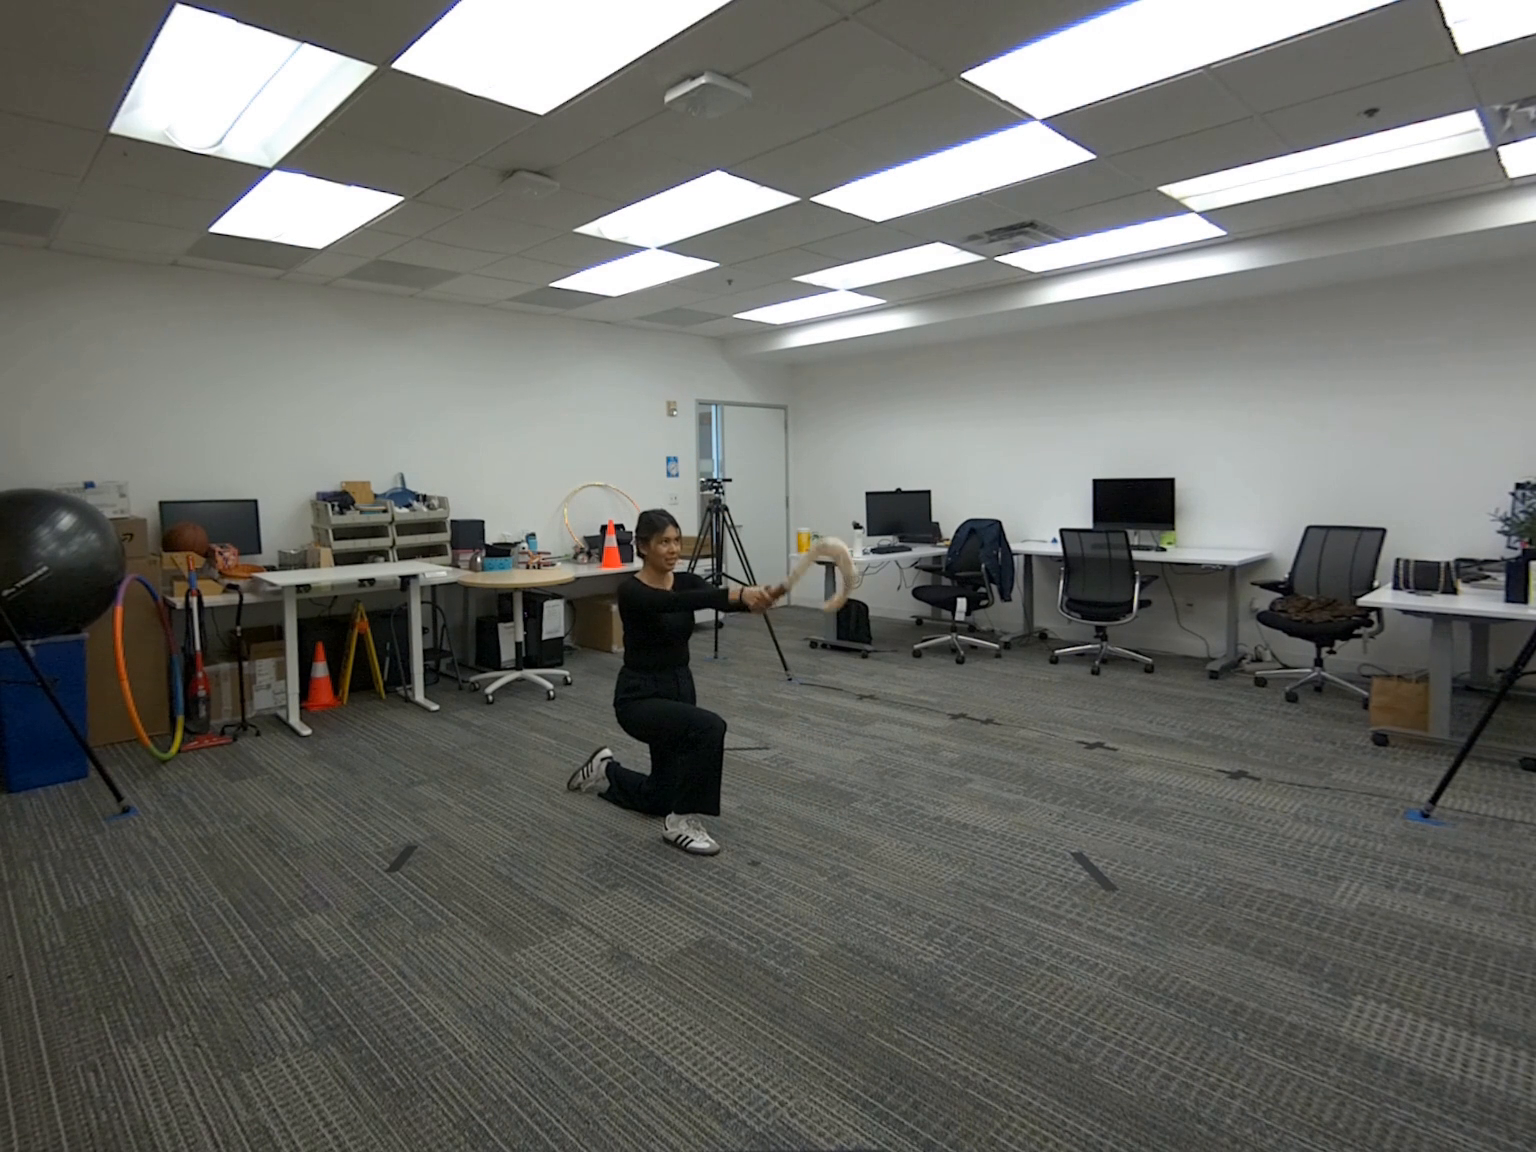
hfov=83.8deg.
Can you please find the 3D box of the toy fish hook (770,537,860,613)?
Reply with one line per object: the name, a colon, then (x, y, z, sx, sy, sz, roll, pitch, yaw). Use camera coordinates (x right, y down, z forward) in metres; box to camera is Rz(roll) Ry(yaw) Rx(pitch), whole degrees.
toy fish hook: (0.089, 0.052, 2.932, 0.047, 0.230, 0.509, 4, -29, -40)
